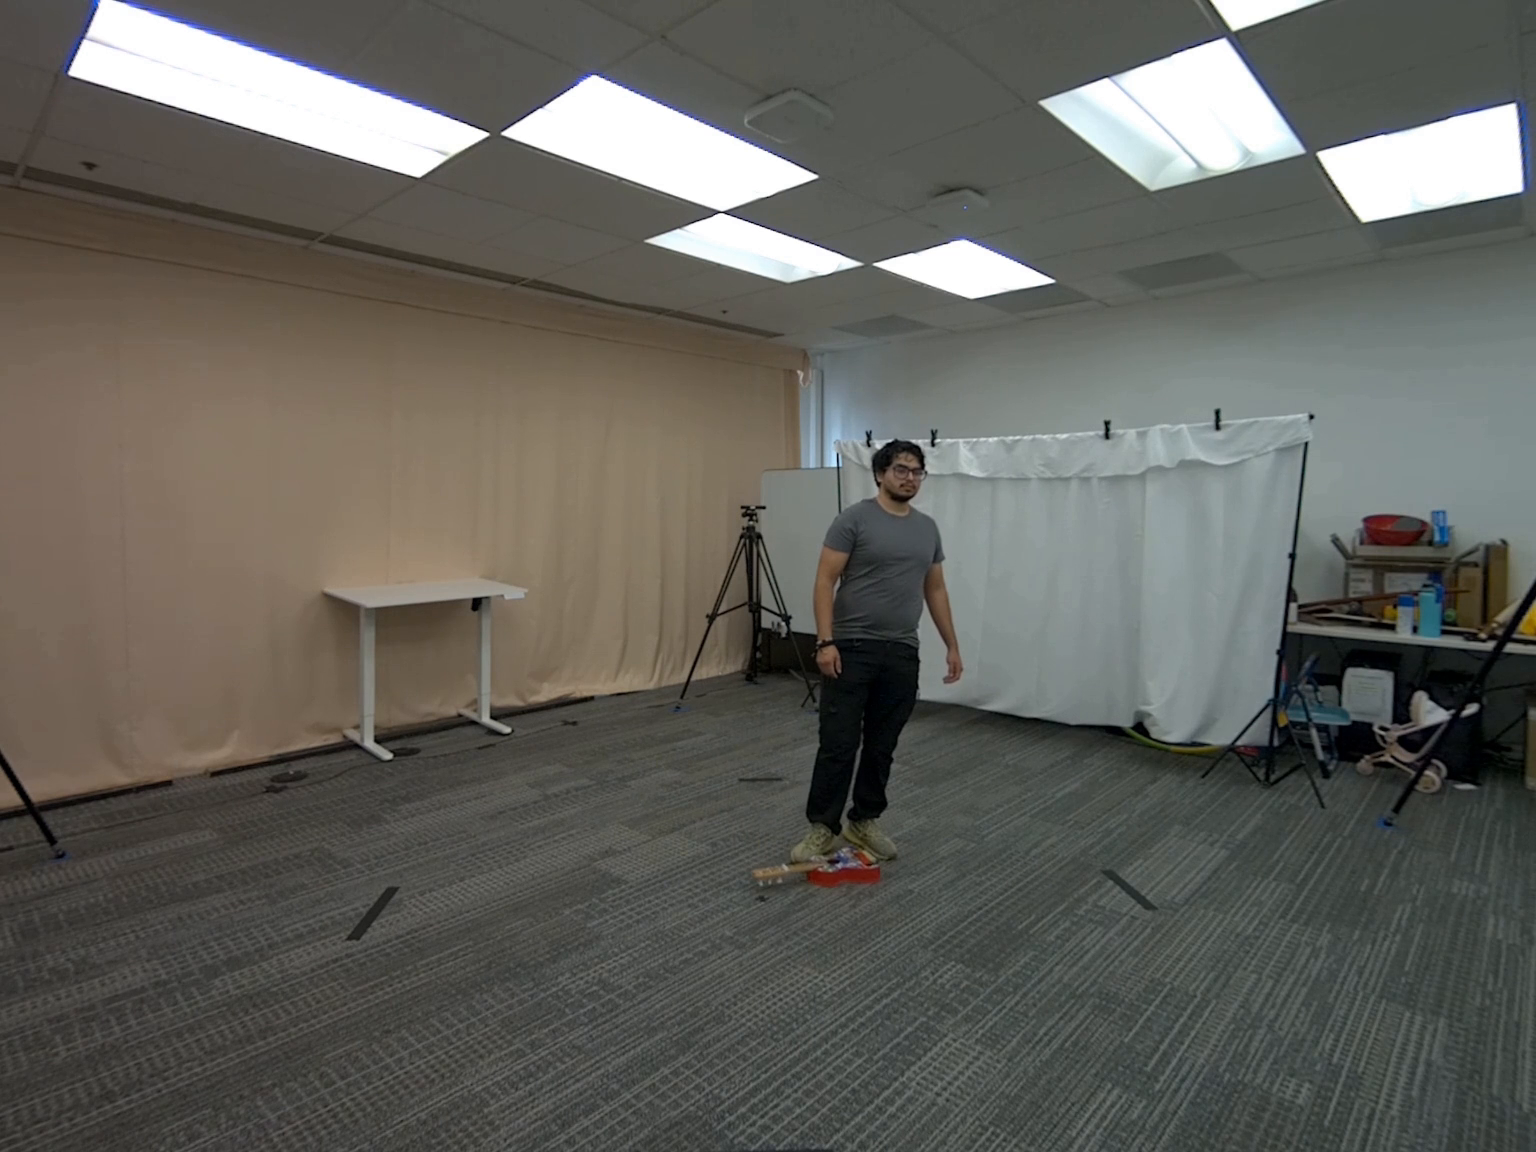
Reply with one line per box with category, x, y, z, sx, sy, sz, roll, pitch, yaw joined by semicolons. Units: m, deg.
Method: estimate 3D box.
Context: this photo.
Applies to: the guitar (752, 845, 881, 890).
guitar;0.178;1.094;3.143;0.492;0.070;0.196;0;7;-10
